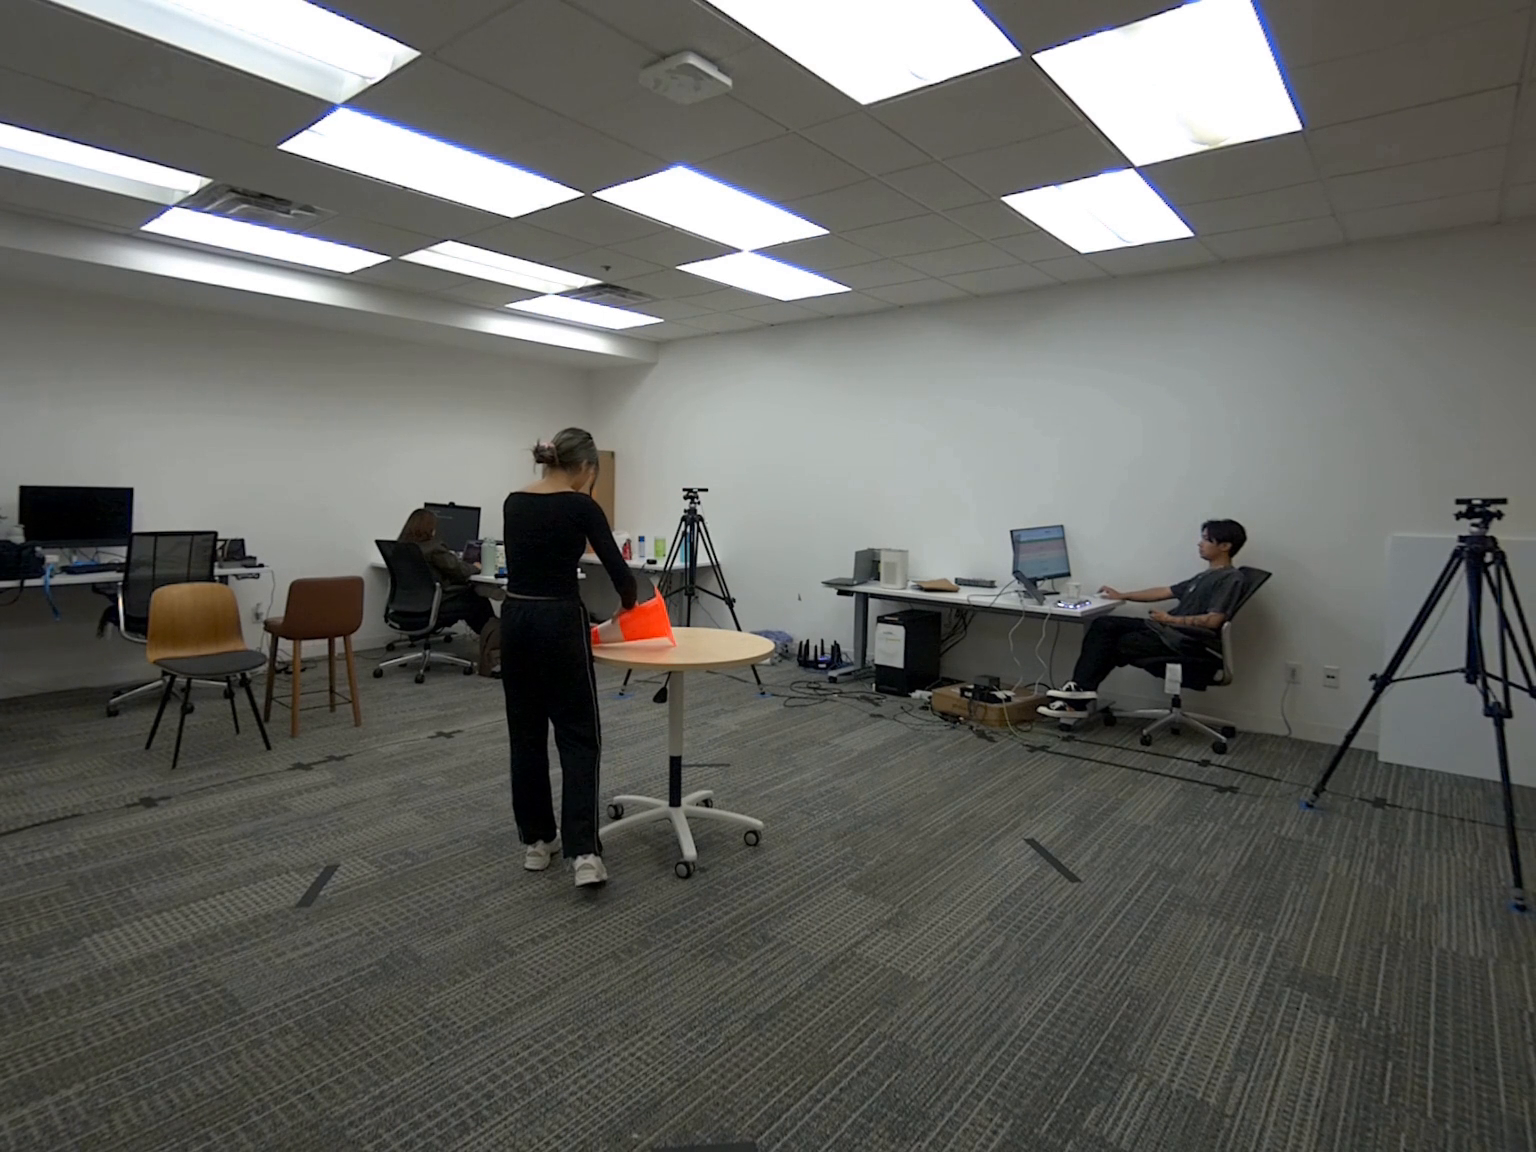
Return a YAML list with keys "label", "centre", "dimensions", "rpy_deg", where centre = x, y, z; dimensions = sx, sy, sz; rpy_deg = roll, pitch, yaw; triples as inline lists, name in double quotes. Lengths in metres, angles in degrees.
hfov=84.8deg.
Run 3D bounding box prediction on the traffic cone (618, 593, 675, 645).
- label: "traffic cone"
  centre: [-0.591, 0.213, 3.242]
  dimensions: [0.386, 0.208, 0.199]
  rpy_deg: [-14, -23, 7]
